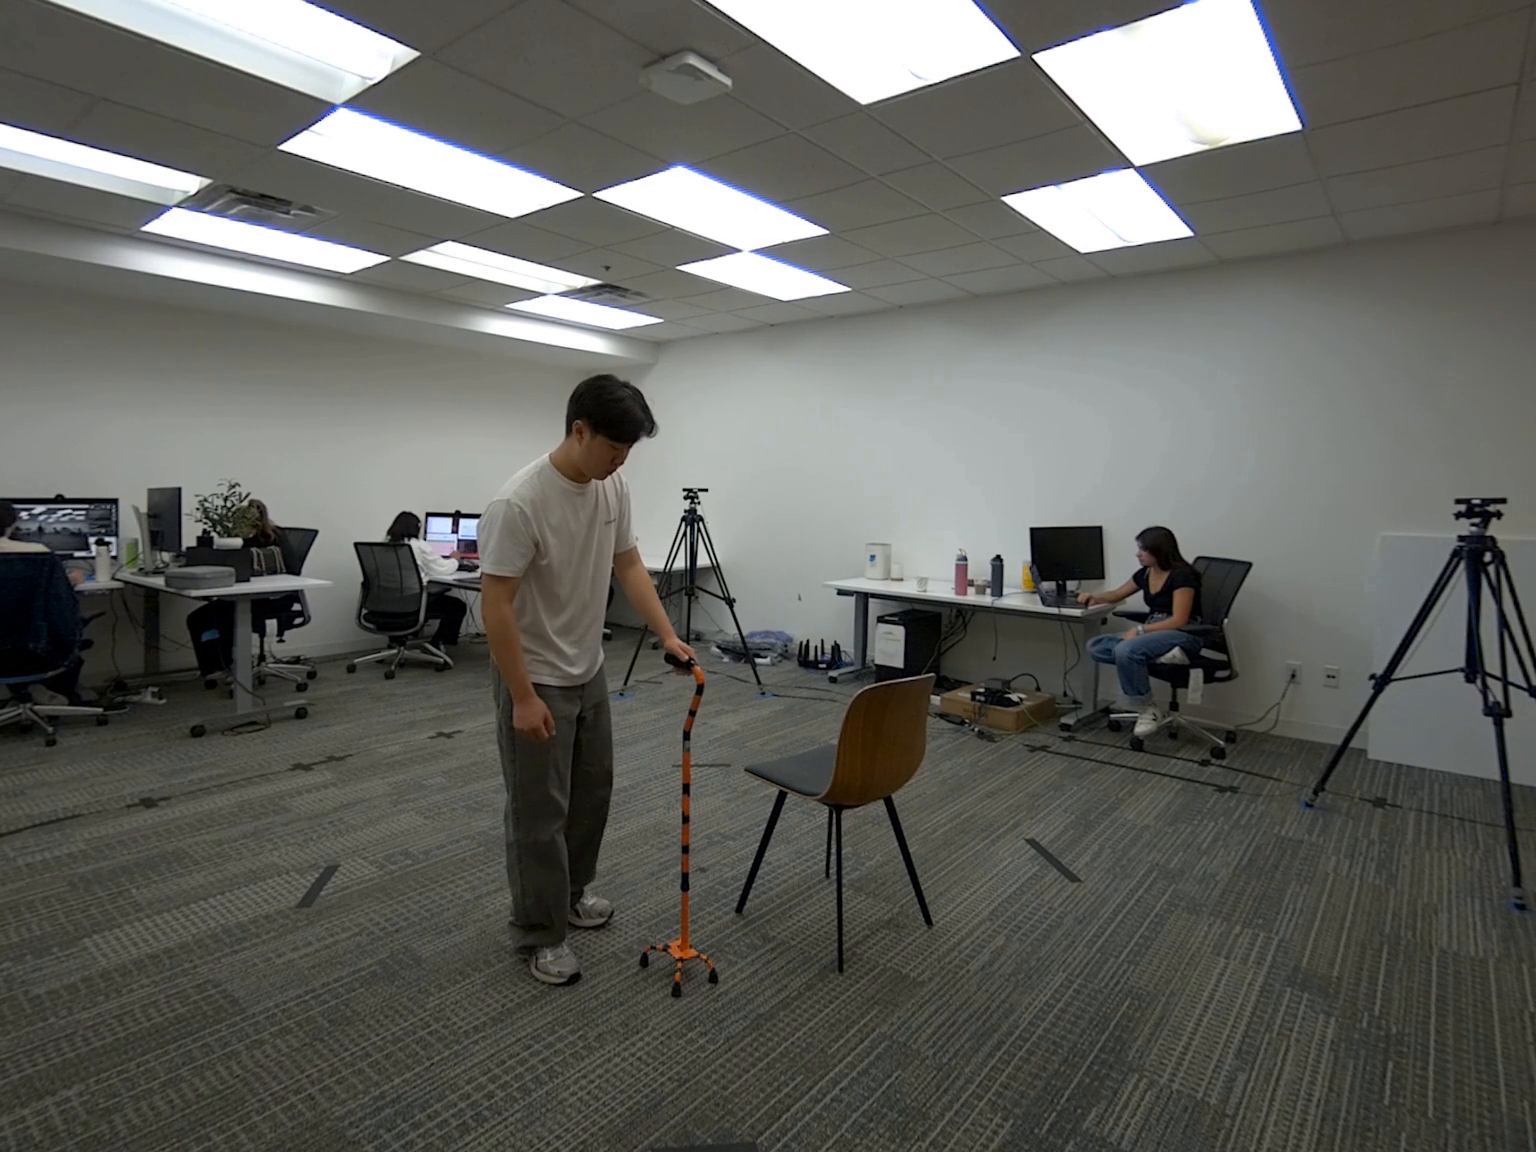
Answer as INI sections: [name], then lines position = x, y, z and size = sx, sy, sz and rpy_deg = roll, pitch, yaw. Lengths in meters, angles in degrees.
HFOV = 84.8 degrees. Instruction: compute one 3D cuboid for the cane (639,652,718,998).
[cane]
position = -0.250, 0.688, 2.405
size = 0.147, 0.905, 0.213
rpy_deg = -1, 4, -39
